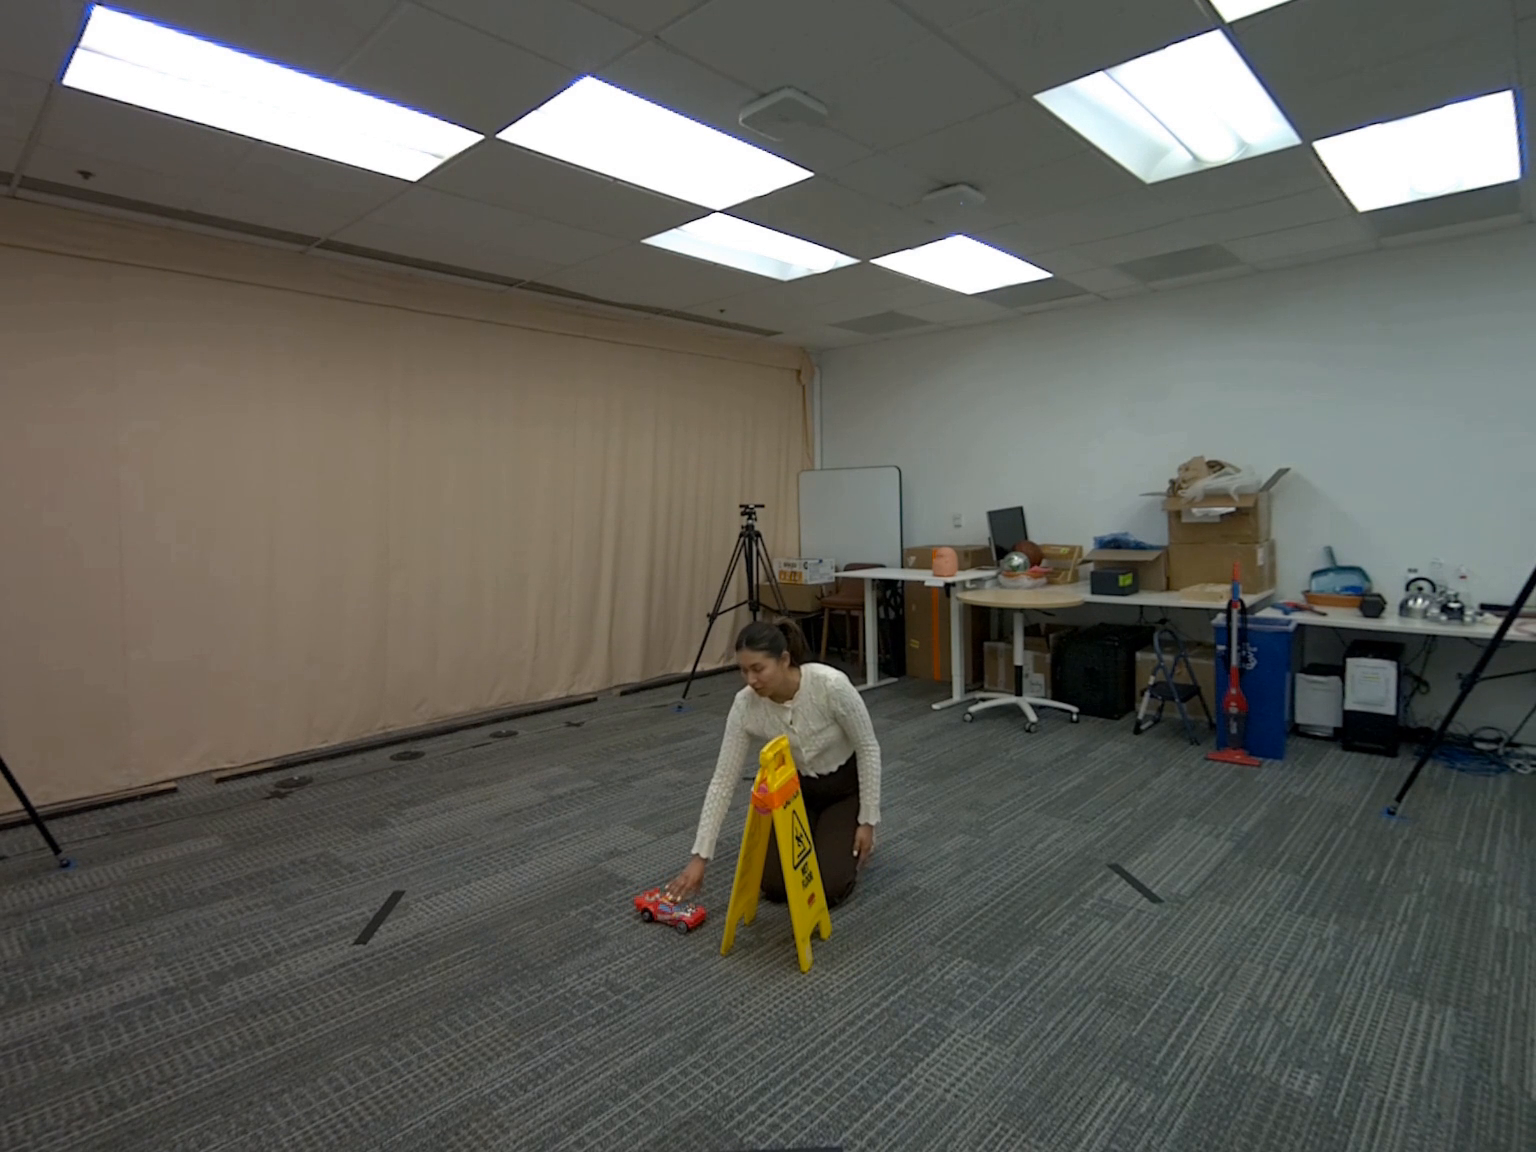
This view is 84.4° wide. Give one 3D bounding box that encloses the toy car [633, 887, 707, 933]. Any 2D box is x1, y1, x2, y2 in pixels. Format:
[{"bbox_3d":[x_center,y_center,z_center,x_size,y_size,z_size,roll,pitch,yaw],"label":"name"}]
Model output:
[{"bbox_3d":[-0.334,1.130,2.844,0.263,0.083,0.127,14,12,31],"label":"toy car"}]
